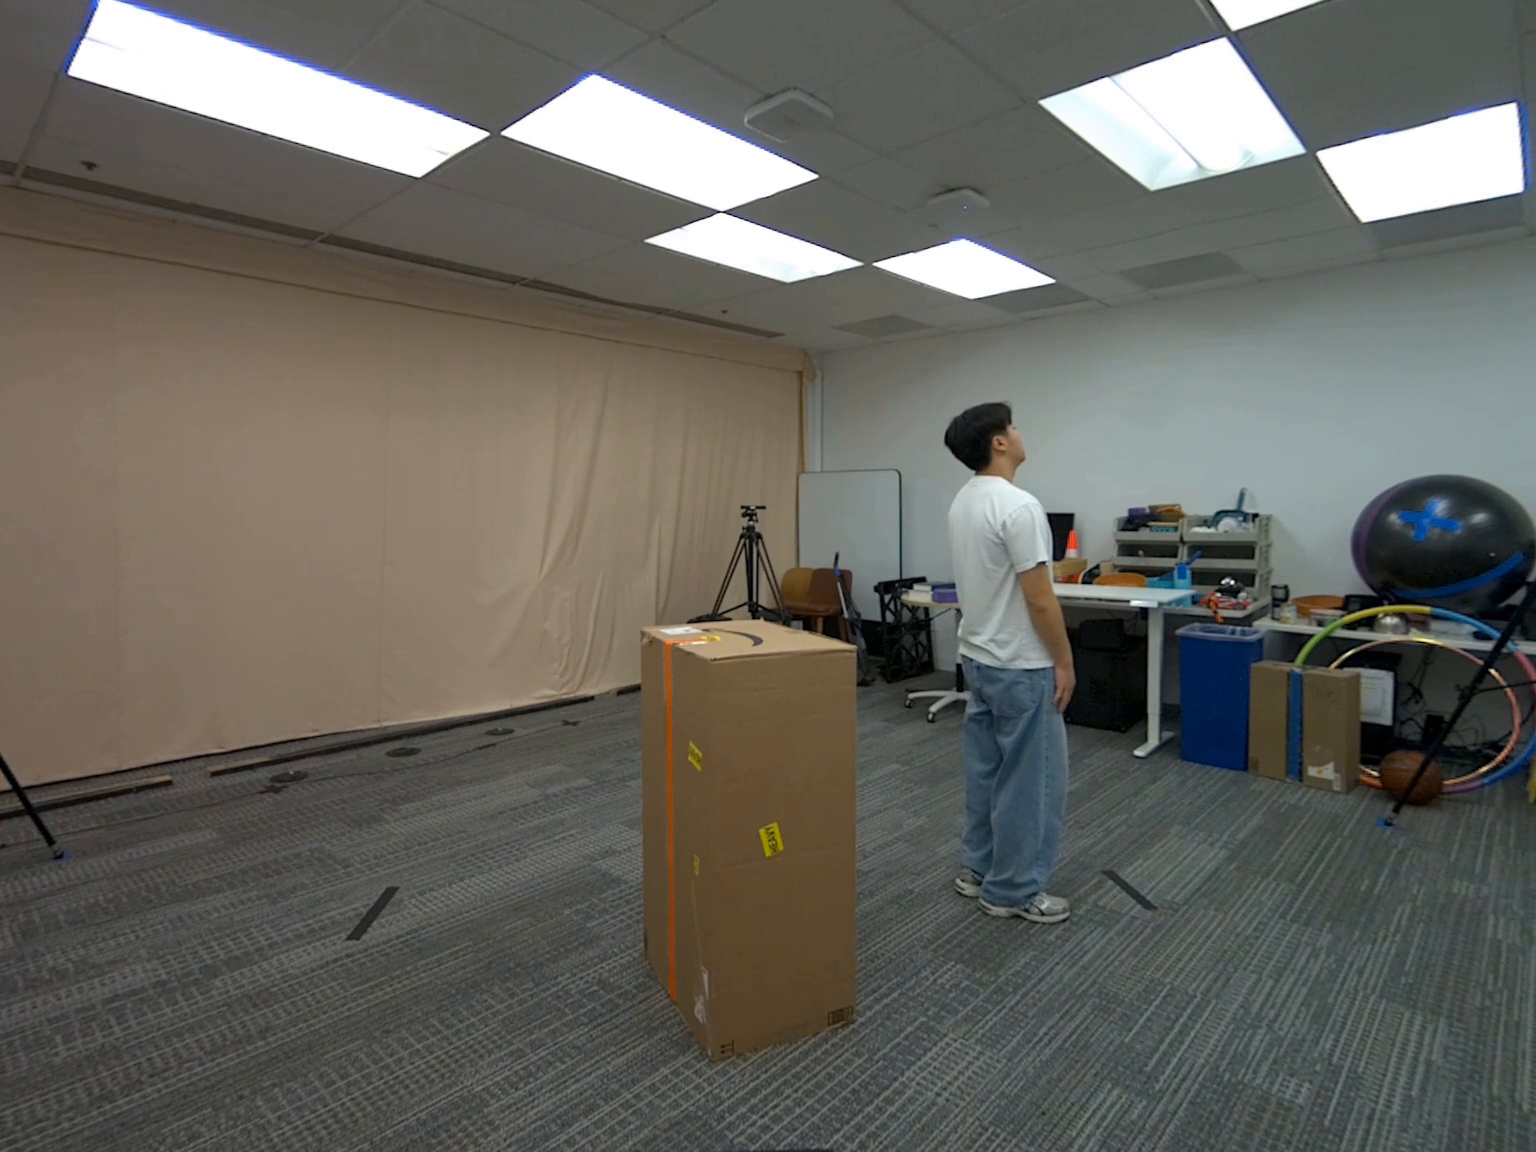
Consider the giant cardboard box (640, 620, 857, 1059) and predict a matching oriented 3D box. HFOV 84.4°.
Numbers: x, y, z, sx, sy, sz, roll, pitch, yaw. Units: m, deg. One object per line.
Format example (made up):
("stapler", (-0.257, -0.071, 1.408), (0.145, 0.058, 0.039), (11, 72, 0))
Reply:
("giant cardboard box", (-0.078, 0.683, 2.418), (0.416, 1.024, 0.593), (-2, 4, -26))
